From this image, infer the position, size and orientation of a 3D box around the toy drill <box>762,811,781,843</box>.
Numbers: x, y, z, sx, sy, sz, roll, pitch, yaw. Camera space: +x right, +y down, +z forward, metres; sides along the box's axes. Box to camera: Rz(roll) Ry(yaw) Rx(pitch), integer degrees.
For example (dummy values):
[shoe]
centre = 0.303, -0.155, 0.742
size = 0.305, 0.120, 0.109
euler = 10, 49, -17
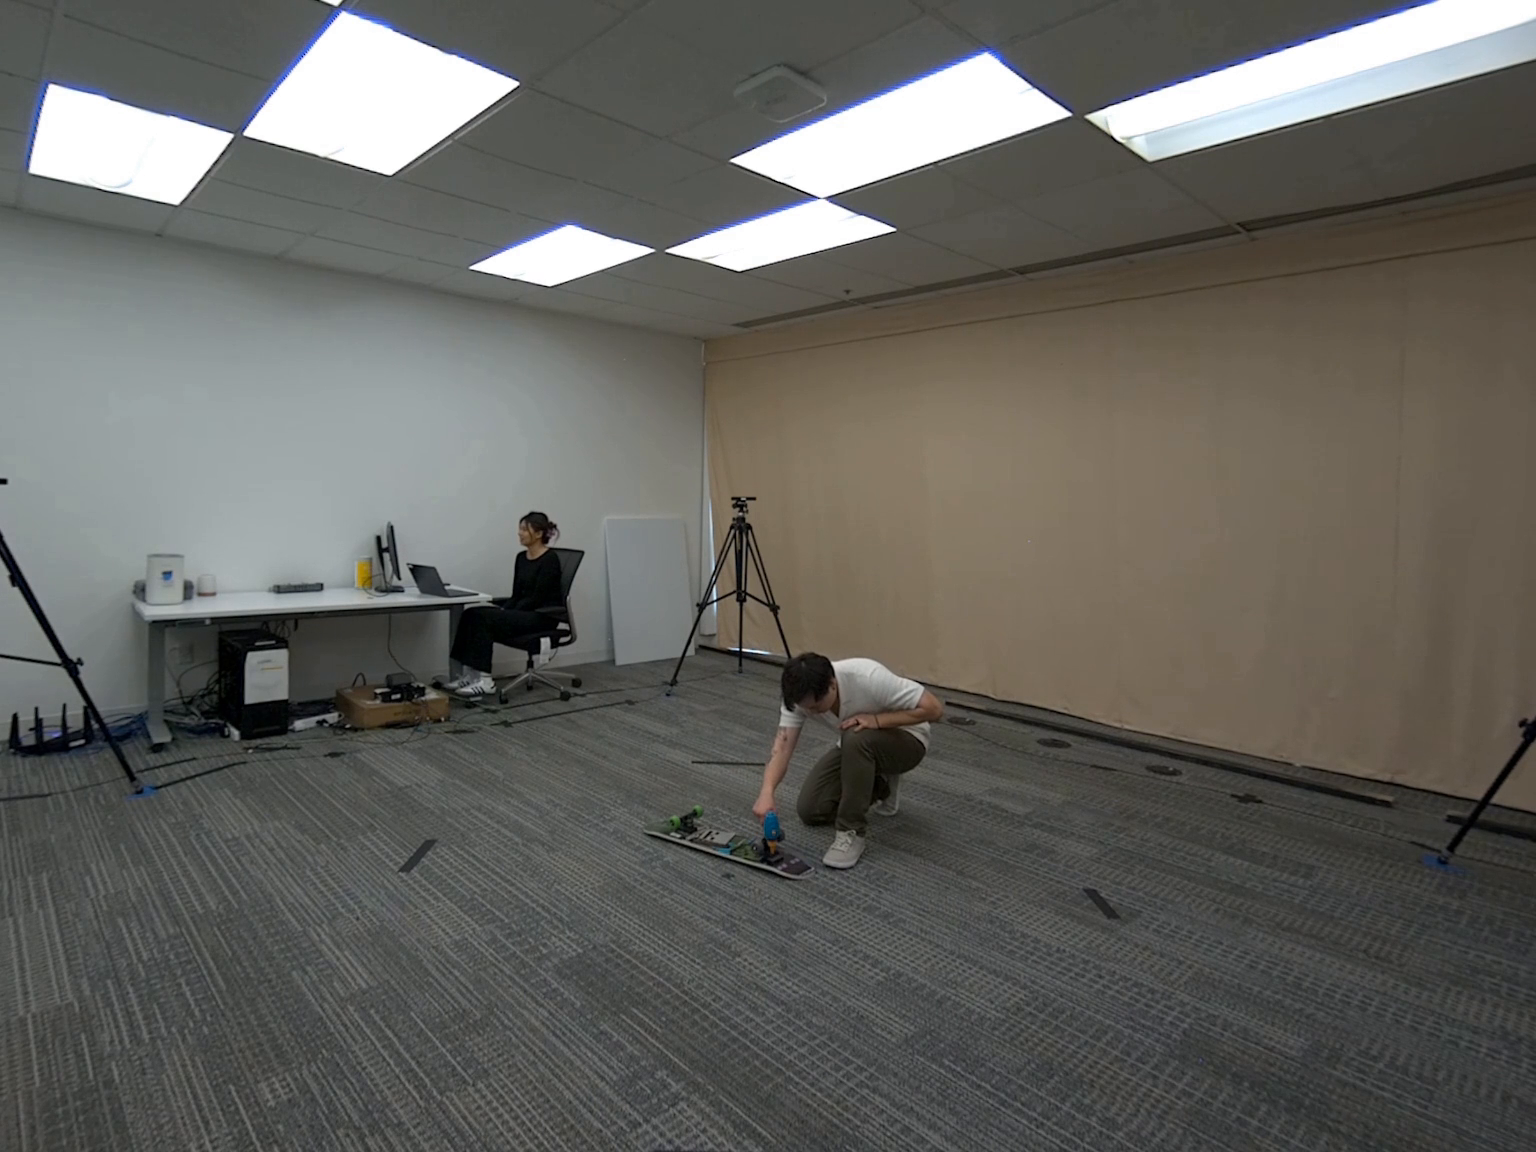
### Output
[toy drill]
centre = -0.001, 0.966, 3.219
size = 0.061, 0.168, 0.148
euler = -7, 9, -8
